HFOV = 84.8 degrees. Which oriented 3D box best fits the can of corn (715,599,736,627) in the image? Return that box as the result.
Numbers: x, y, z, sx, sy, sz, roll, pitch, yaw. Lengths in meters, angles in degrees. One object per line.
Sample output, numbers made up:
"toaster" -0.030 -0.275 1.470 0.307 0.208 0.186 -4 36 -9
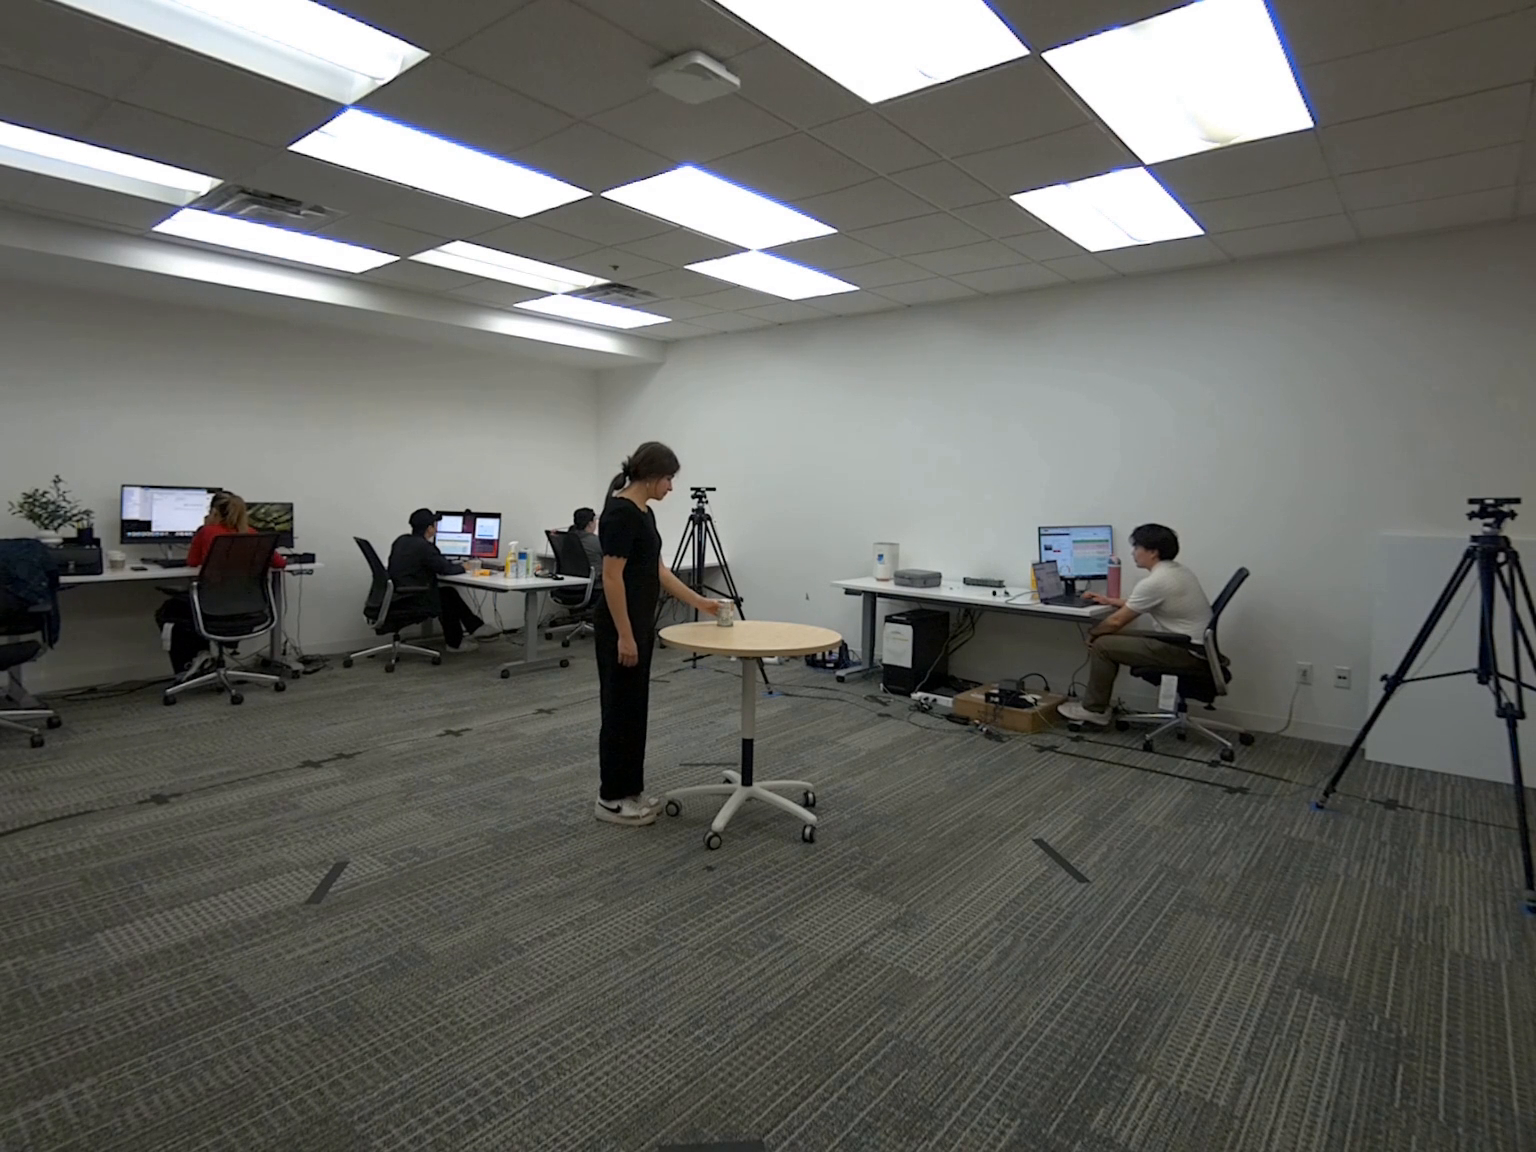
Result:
"can of corn" -0.202 0.163 3.790 0.074 0.111 0.074 2 2 -2
